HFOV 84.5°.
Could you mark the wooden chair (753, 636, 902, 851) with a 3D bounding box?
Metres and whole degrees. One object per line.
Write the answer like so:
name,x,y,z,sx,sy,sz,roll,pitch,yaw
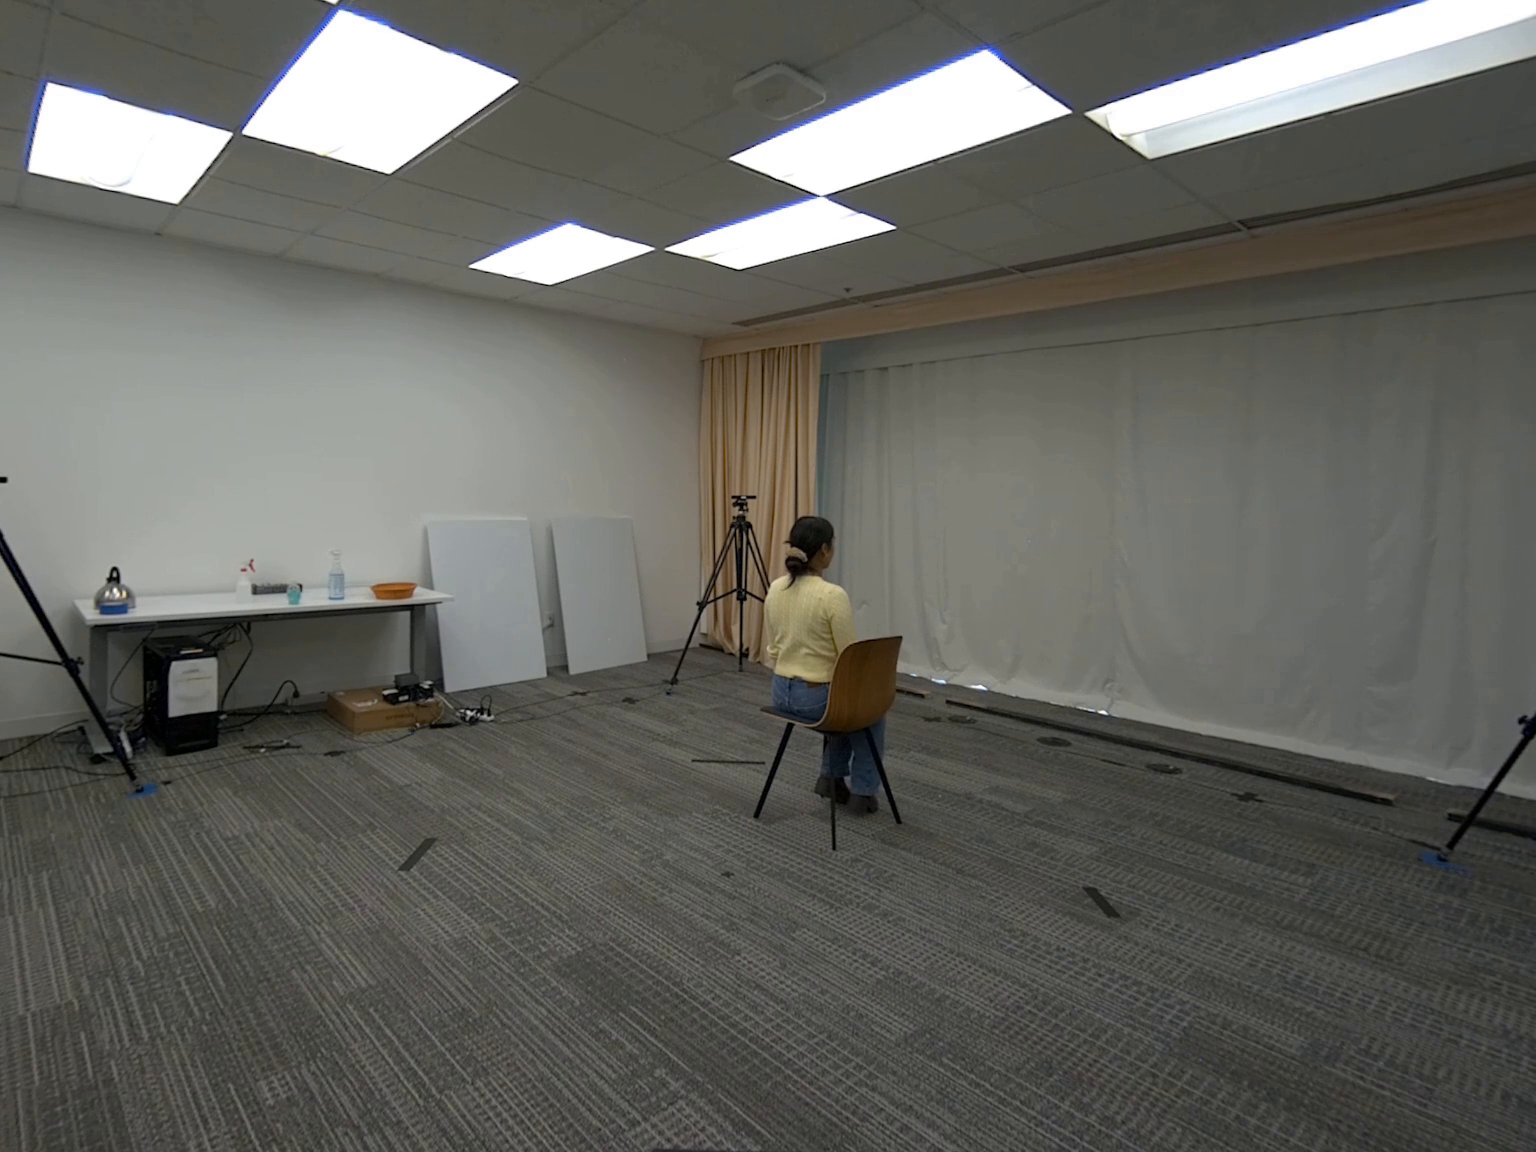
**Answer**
wooden chair,0.254,0.640,3.624,0.467,0.874,0.537,-1,8,-44
